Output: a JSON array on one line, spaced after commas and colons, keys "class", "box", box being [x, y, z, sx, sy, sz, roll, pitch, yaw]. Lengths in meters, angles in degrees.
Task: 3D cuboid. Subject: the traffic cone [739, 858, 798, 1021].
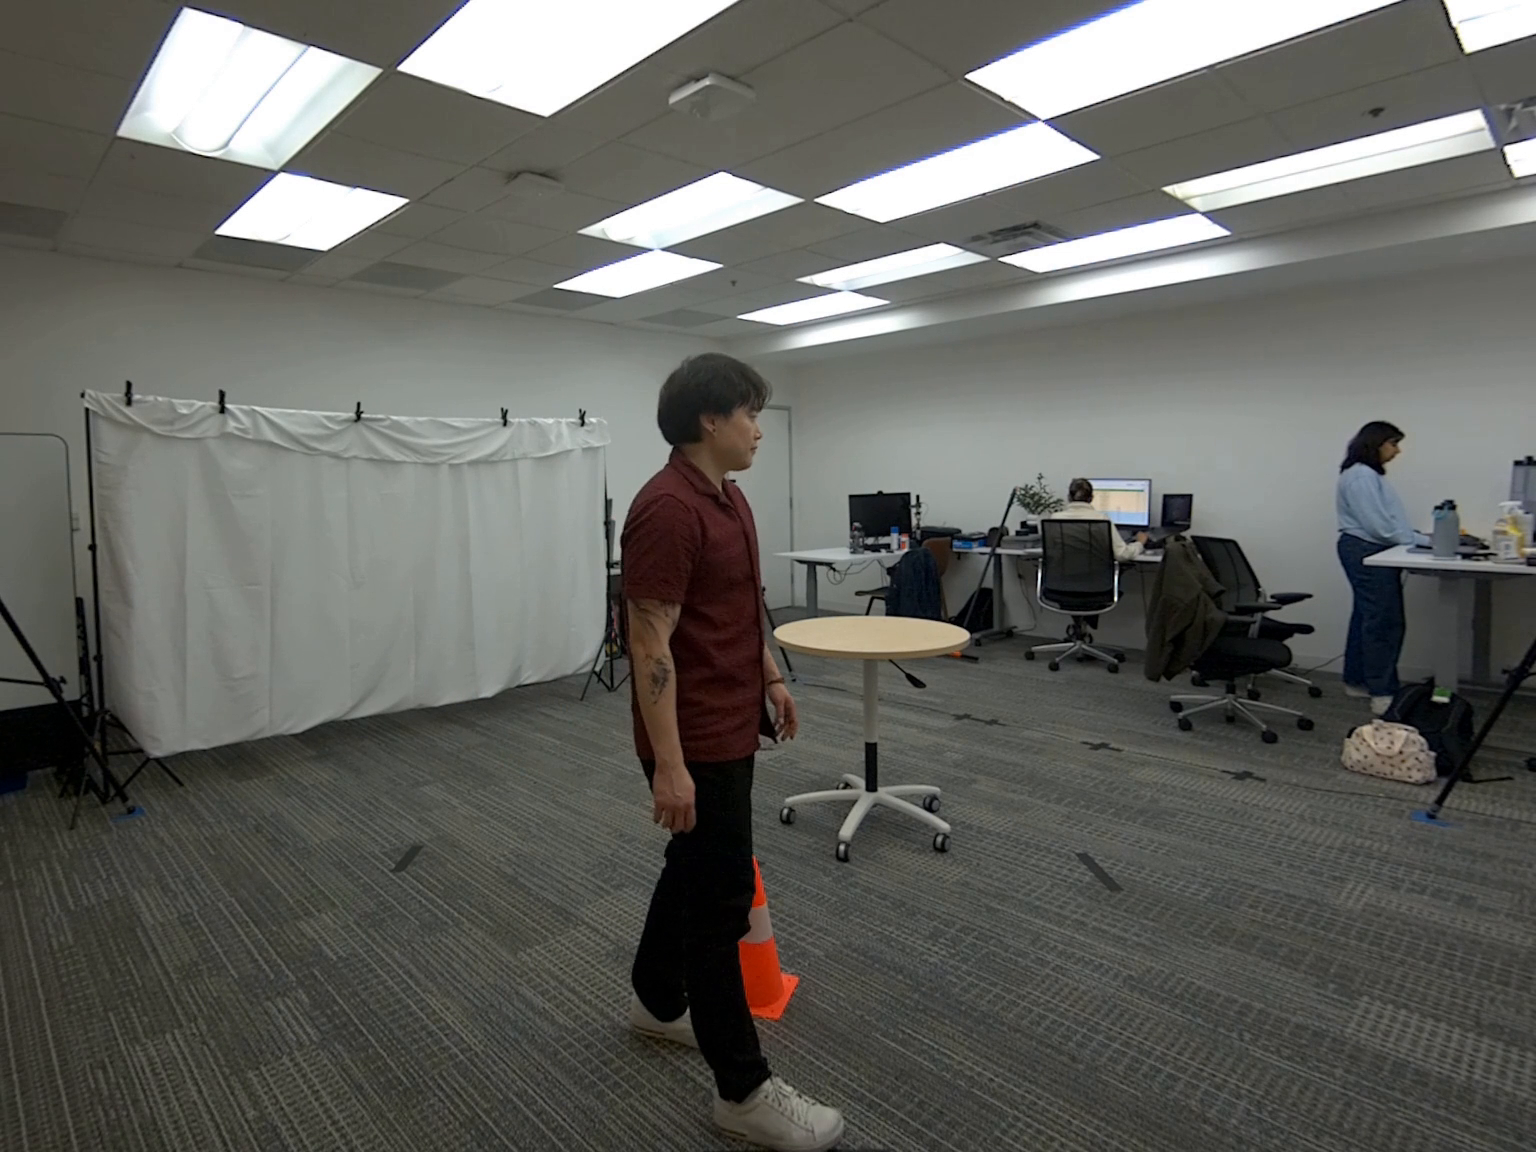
[{"class": "traffic cone", "box": [-0.031, 0.954, 2.315, 0.209, 0.382, 0.200, 0, 6, 24]}]
